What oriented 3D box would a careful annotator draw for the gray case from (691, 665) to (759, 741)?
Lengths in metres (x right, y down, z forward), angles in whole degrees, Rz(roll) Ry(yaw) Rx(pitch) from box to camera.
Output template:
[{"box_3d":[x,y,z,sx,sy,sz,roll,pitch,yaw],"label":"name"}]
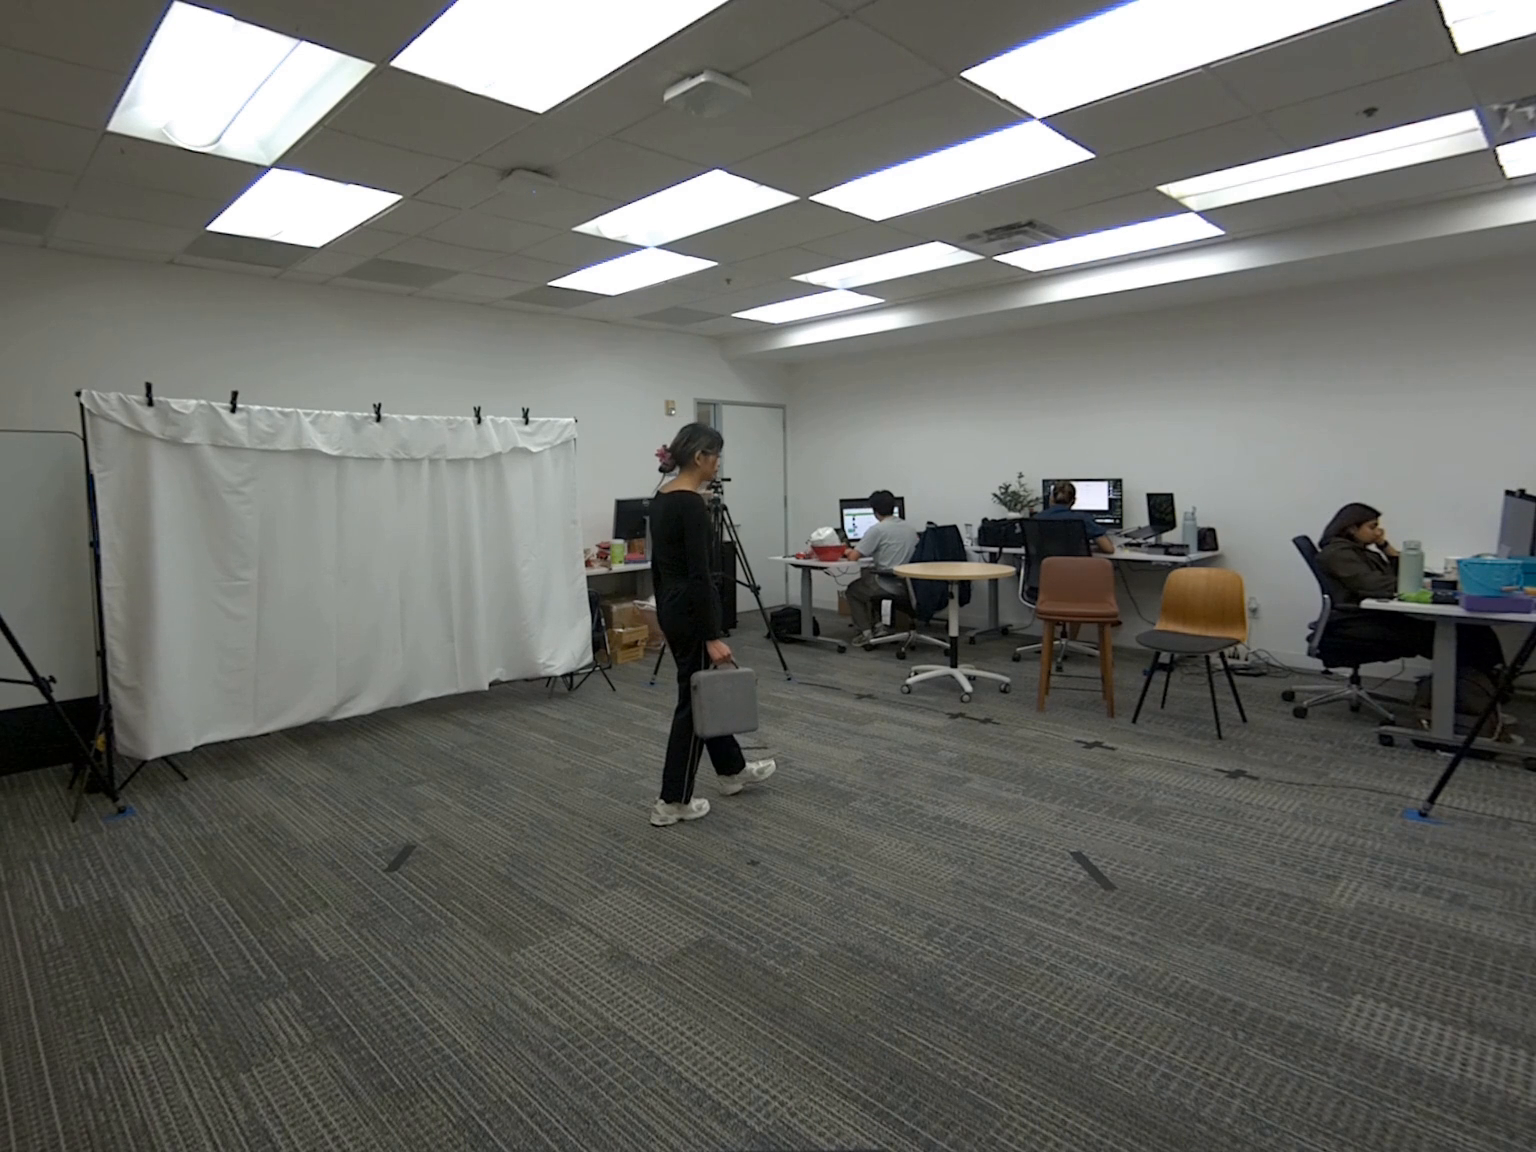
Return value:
[{"box_3d":[-0.172,0.488,3.366,0.252,0.261,0.106,-2,-3,-20],"label":"gray case"}]
